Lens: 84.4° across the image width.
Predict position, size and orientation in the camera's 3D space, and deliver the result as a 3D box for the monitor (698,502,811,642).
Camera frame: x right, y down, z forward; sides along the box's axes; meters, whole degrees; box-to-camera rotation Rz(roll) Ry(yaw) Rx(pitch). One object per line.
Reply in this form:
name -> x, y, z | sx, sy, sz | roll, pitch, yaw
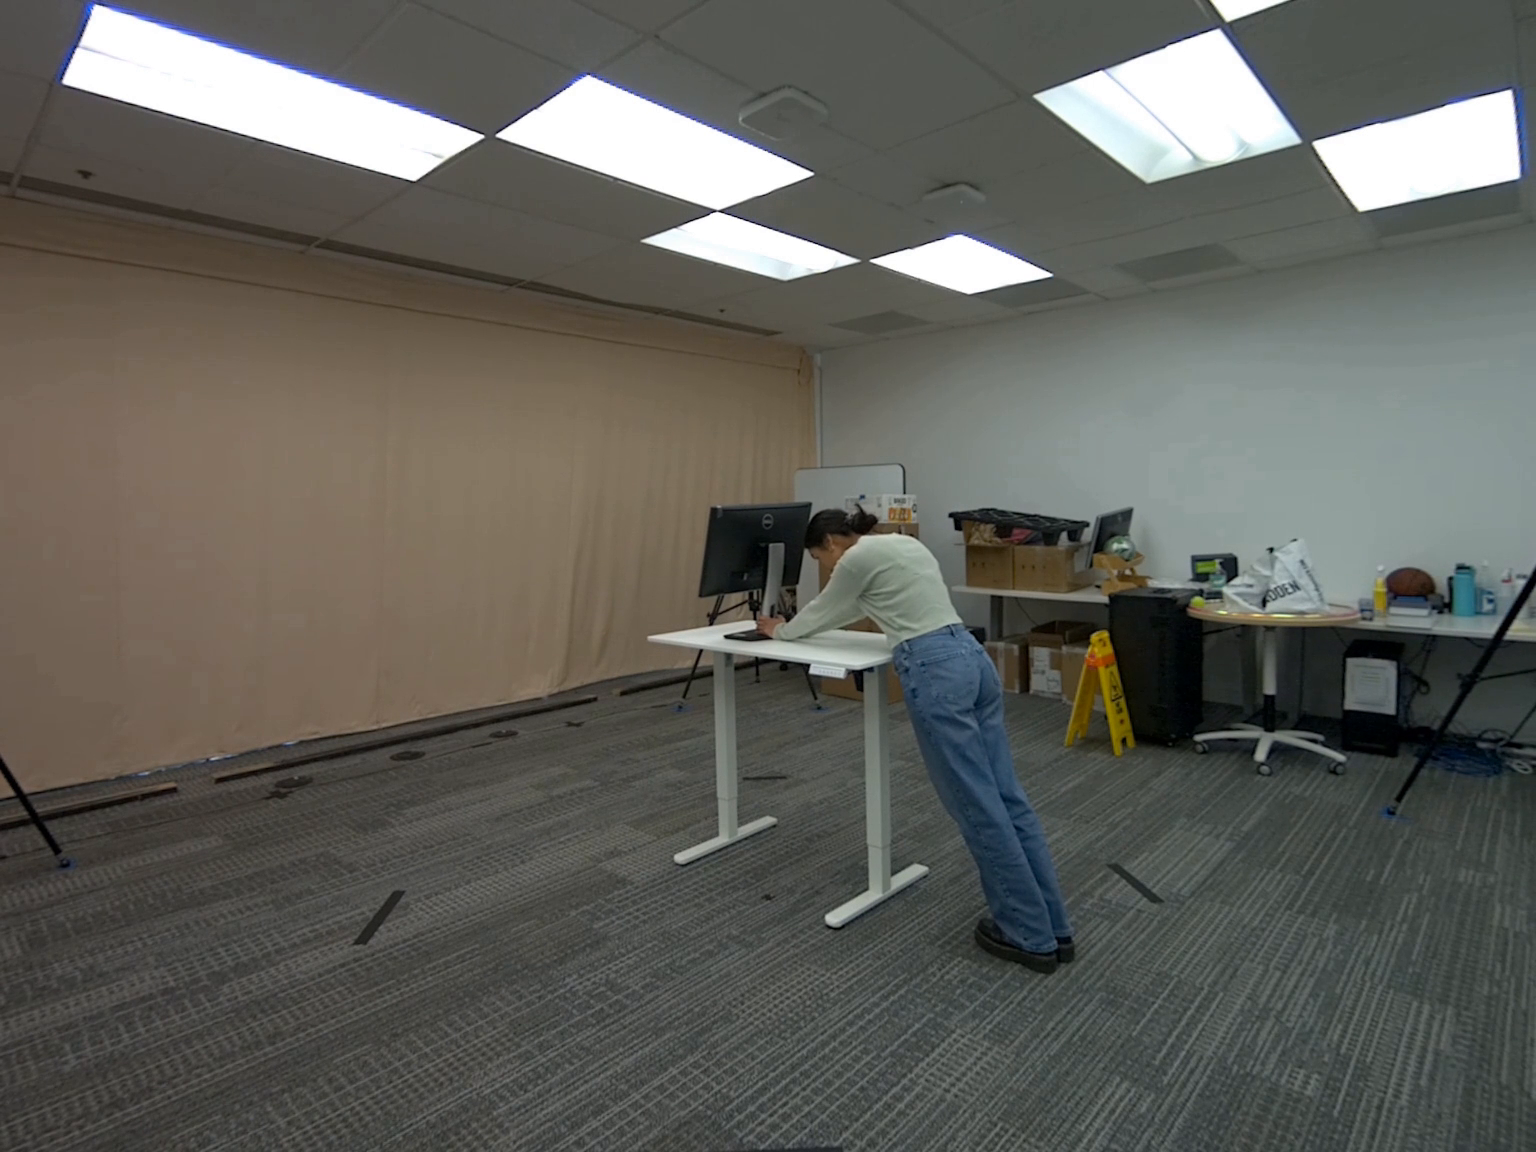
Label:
monitor -> -0.014, -0.019, 3.266 | 0.193, 0.521, 0.523 | 5, 8, 44
